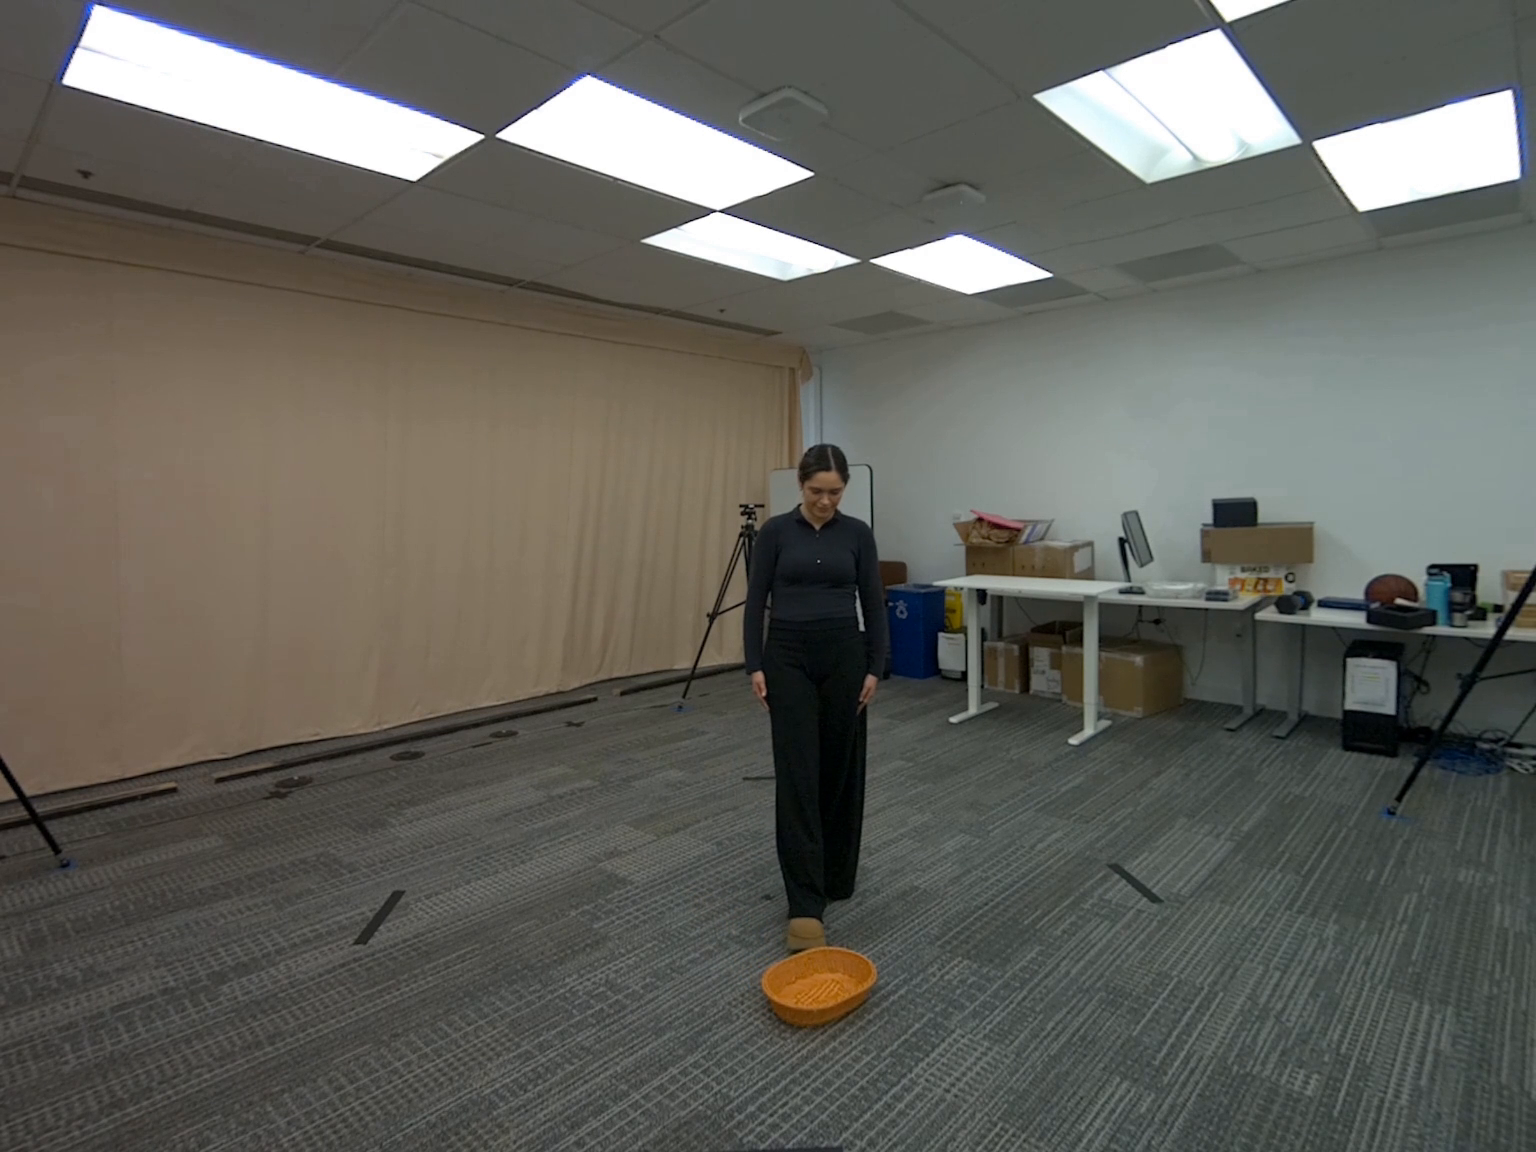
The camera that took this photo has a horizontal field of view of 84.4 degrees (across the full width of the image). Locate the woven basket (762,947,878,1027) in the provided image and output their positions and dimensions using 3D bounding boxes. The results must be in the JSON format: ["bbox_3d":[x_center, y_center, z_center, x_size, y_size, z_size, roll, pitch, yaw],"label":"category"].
[{"bbox_3d":[0.143,1.144,2.364,0.340,0.073,0.260,-4,6,-36],"label":"woven basket"}]
